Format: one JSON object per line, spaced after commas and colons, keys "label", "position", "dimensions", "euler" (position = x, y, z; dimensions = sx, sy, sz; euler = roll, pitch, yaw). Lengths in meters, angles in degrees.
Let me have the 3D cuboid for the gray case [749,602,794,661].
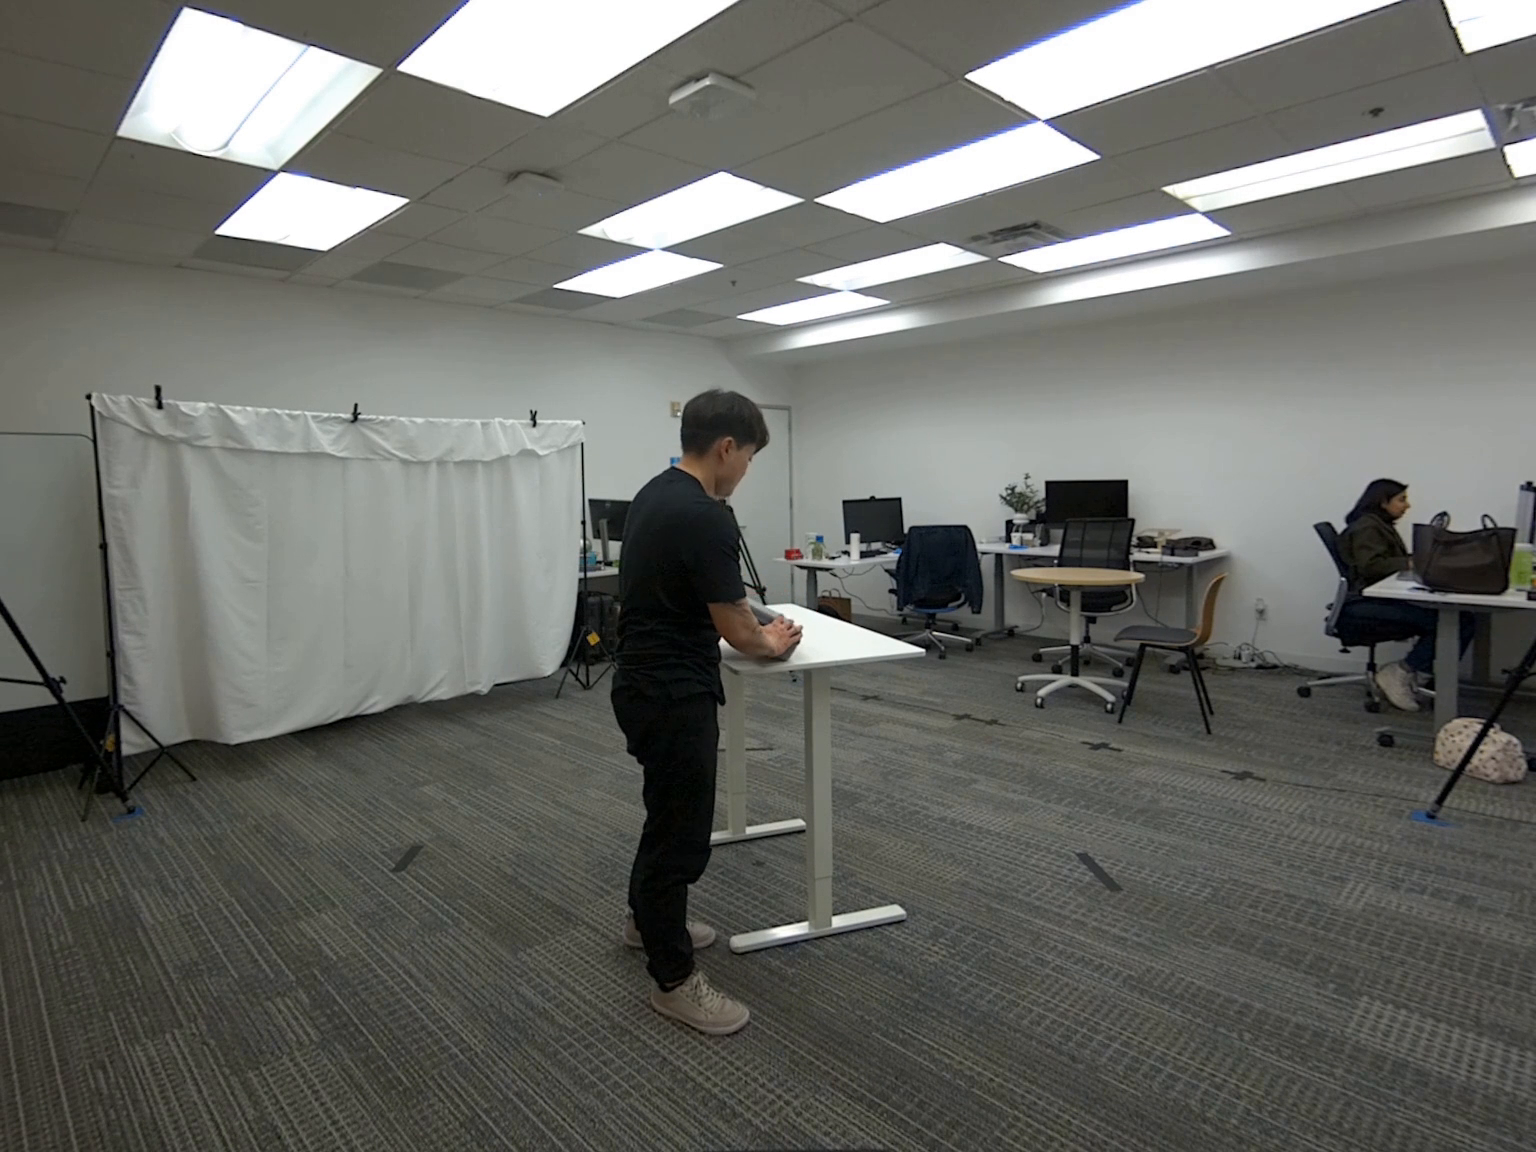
{"label": "gray case", "position": [-0.025, 0.130, 2.526], "dimensions": [0.258, 0.104, 0.260], "euler": [31, -2, -10]}
